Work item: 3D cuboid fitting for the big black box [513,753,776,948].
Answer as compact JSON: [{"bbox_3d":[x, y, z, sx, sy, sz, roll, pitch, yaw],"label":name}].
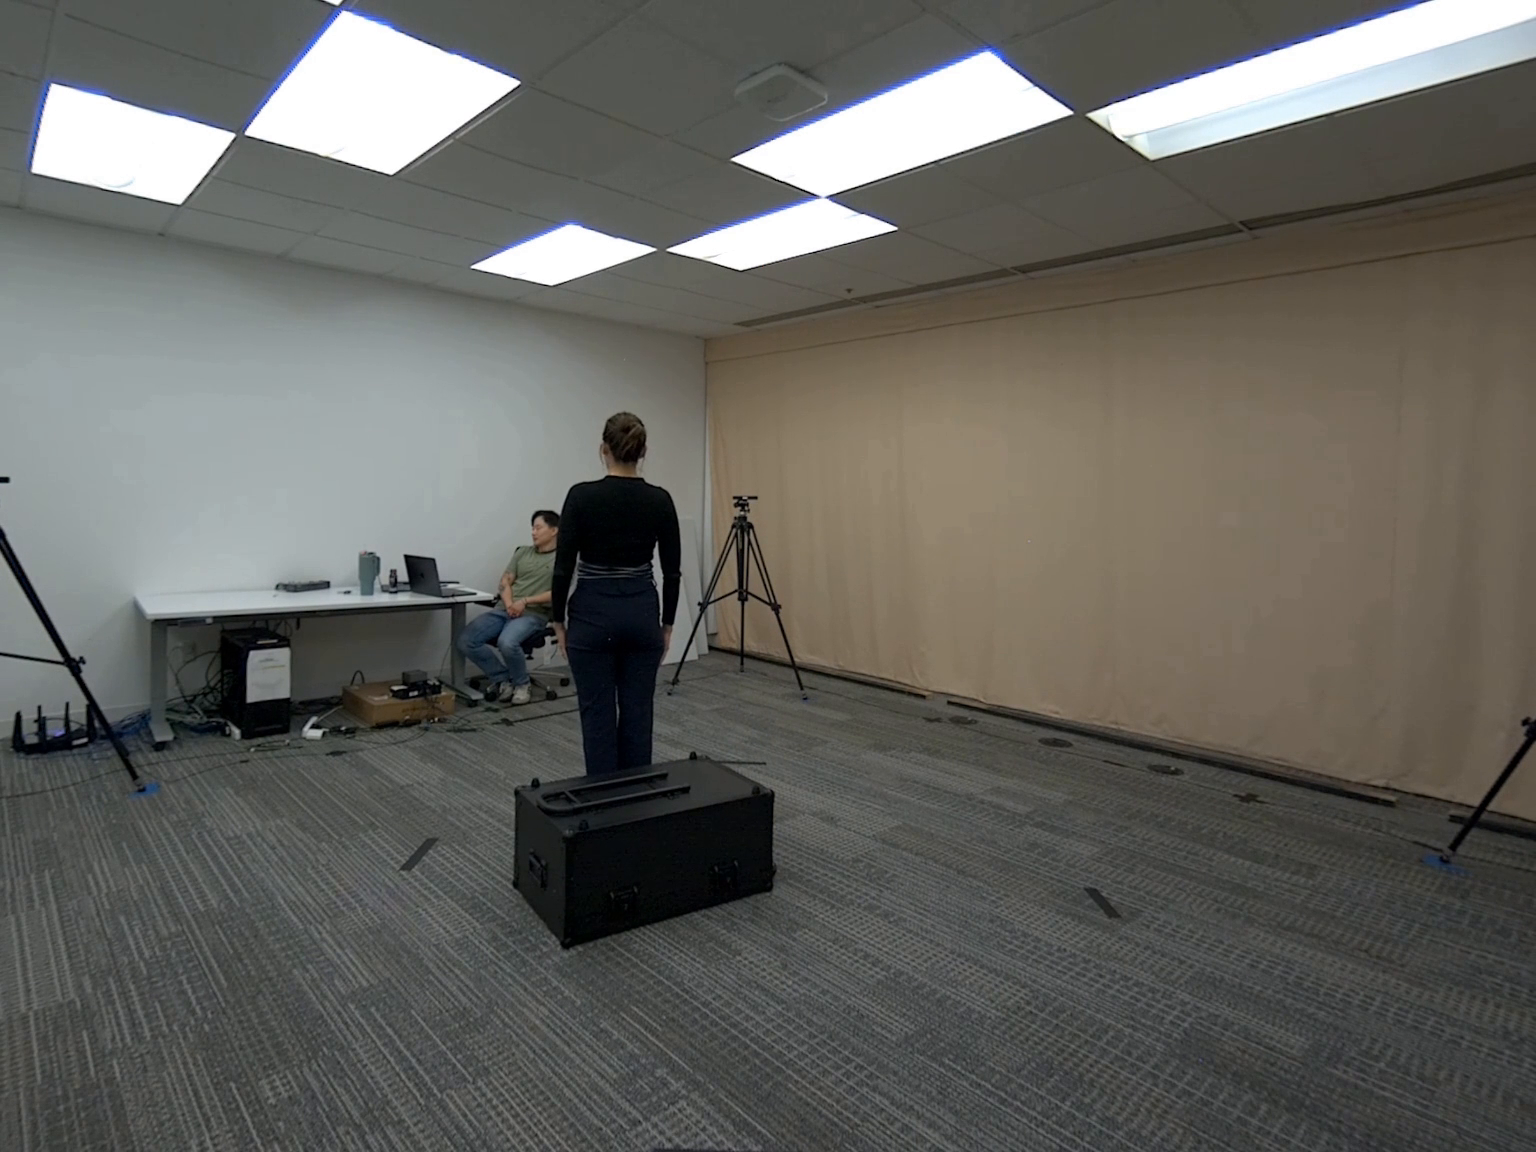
[{"bbox_3d":[-0.465,0.935,2.951,0.843,0.395,0.534,-2,5,-34],"label":"big black box"}]
